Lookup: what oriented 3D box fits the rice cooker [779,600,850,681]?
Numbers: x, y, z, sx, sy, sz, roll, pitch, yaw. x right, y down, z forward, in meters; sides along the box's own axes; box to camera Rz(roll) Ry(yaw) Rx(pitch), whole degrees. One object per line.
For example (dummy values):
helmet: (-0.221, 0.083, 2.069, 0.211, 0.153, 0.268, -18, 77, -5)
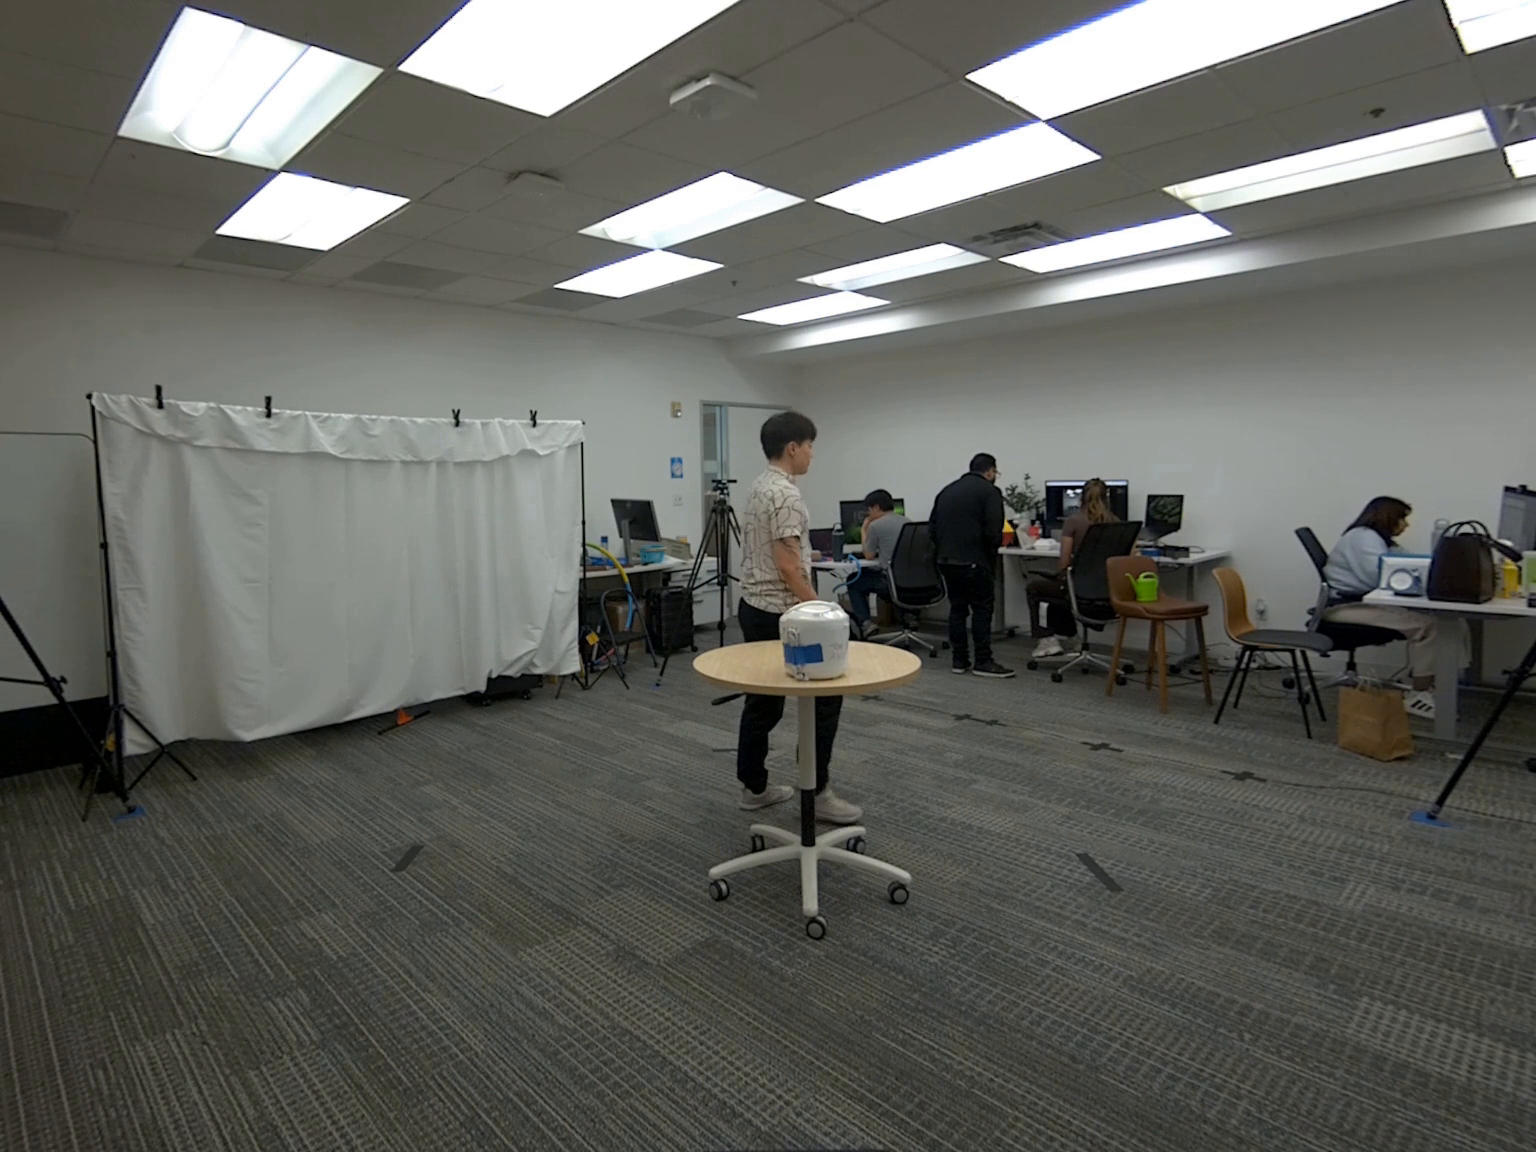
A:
rice cooker: (0.144, 0.196, 2.681, 0.219, 0.232, 0.220, -2, 6, -8)
